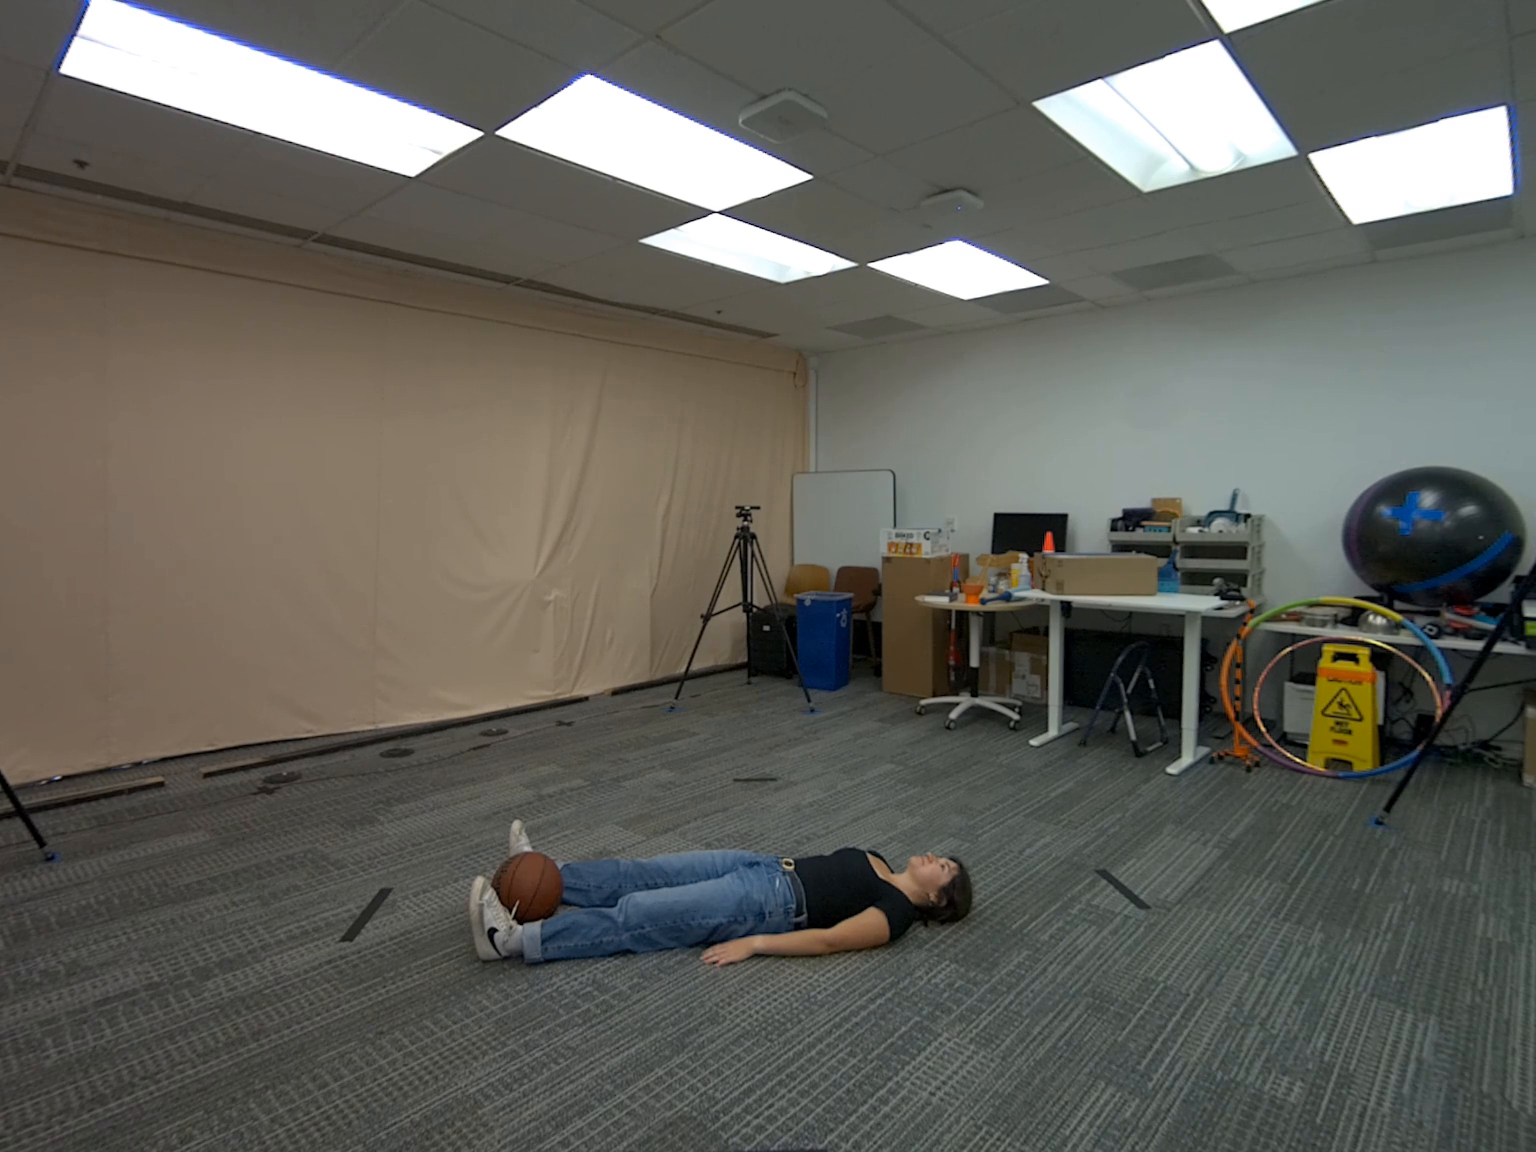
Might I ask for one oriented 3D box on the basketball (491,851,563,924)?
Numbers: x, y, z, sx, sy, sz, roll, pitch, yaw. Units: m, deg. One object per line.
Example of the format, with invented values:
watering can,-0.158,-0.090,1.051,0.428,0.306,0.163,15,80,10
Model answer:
basketball,-0.802,1.042,2.804,0.236,0.235,0.237,0,4,-2
